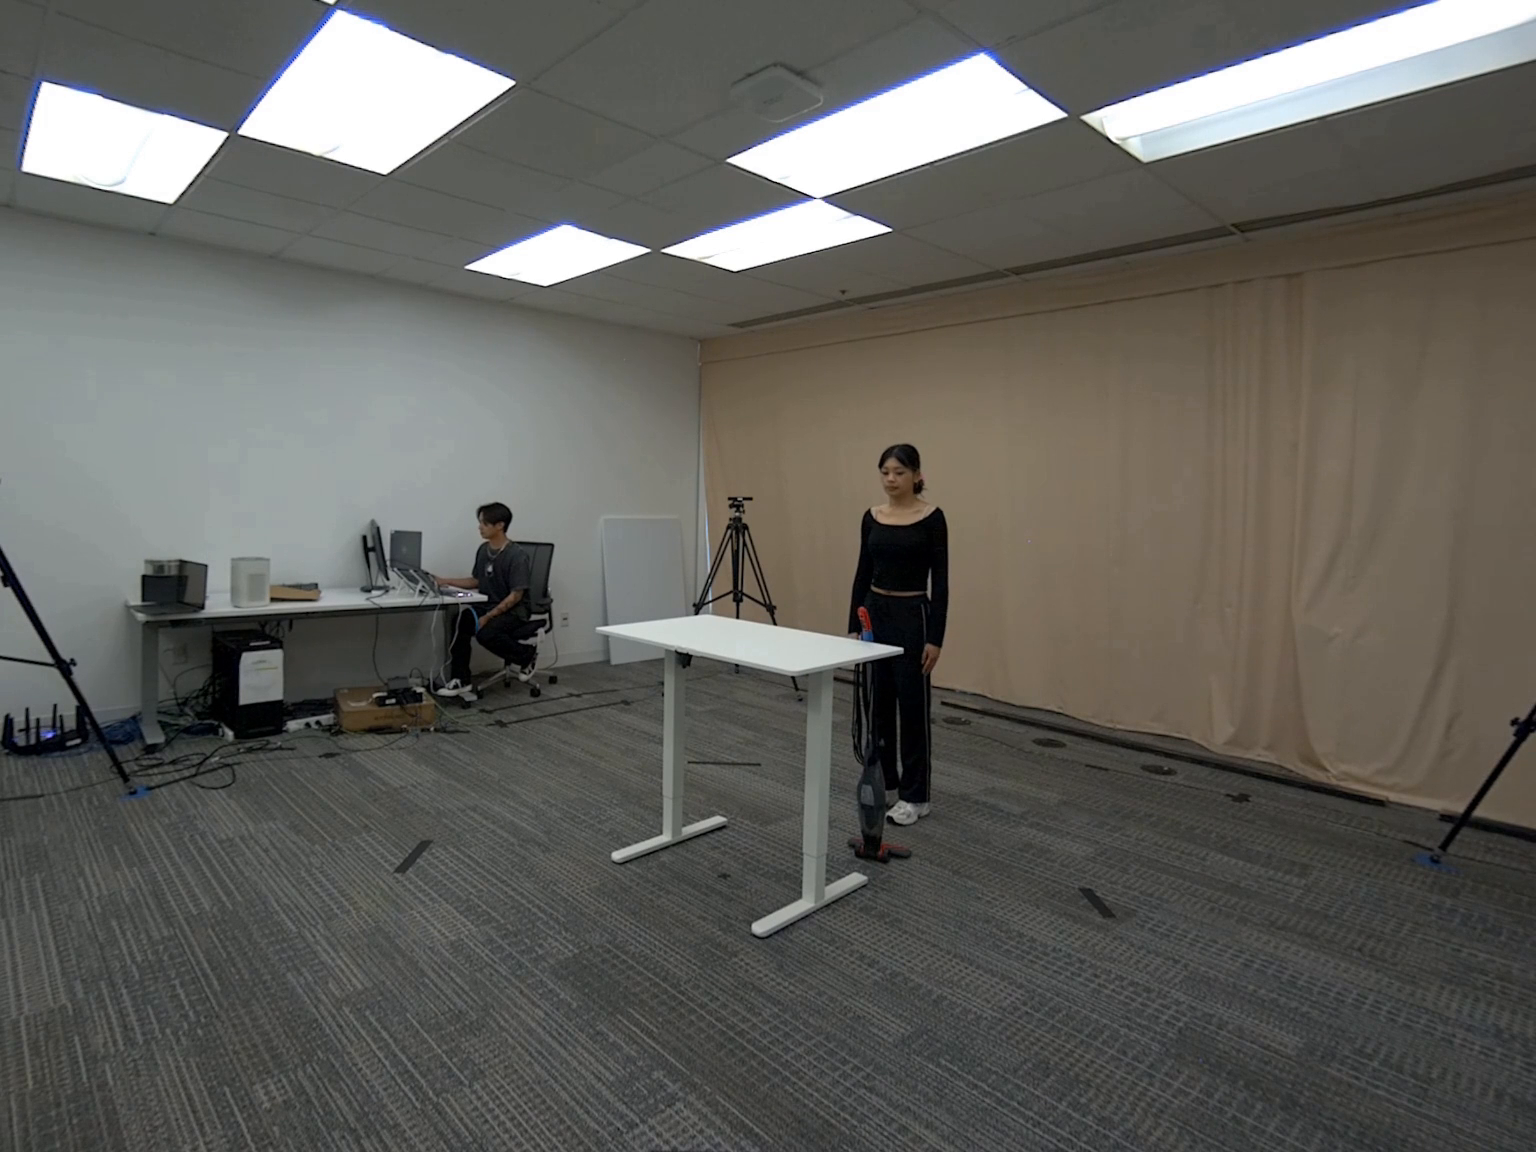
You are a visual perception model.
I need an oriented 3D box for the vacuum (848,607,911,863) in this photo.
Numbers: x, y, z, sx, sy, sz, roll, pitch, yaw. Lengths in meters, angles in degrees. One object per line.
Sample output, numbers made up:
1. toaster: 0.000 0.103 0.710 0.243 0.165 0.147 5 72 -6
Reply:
1. vacuum: 0.374 0.619 3.165 0.258 1.034 0.143 4 21 29
